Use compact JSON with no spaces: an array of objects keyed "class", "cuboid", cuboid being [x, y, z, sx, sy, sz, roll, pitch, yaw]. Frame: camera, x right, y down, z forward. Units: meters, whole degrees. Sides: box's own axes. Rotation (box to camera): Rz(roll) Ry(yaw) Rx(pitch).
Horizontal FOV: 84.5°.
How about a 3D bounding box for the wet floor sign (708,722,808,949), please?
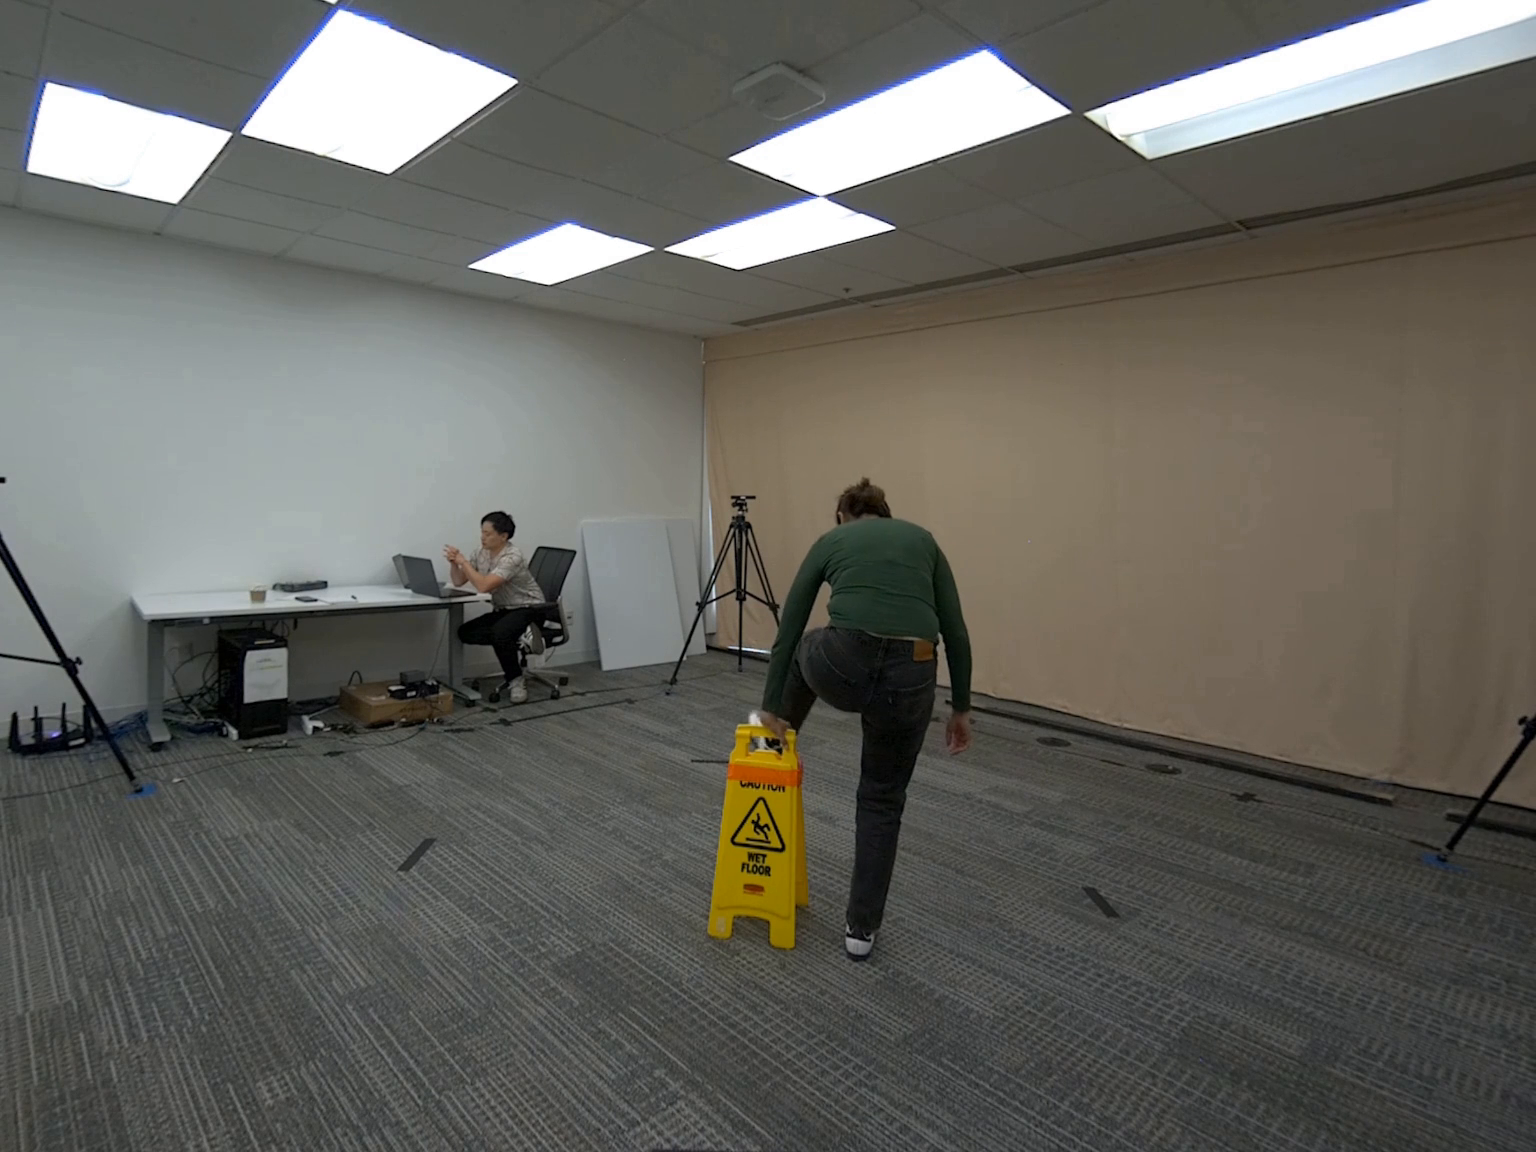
[{"class":"wet floor sign","cuboid":[-0.022,0.815,2.760,0.285,0.644,0.287,4,3,12]}]
